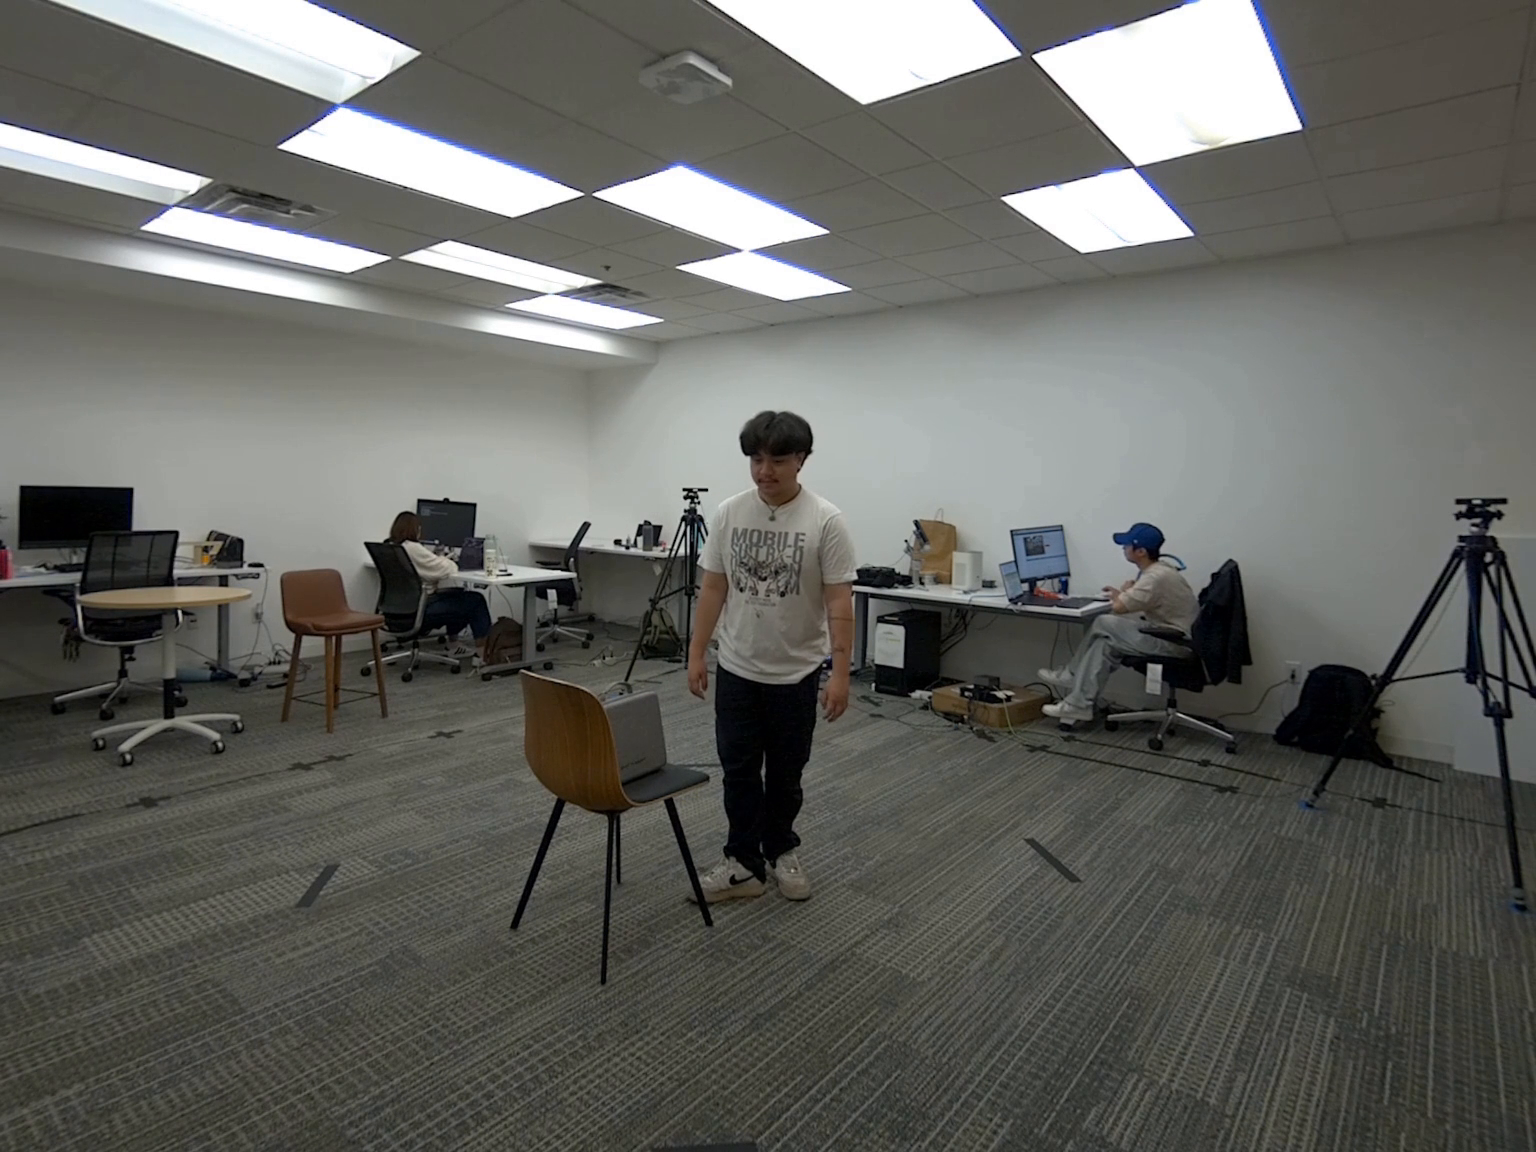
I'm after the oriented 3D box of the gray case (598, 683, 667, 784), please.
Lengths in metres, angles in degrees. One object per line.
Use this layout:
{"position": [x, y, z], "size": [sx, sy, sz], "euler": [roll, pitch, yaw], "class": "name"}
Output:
{"position": [-0.459, 0.503, 2.687], "size": [0.107, 0.261, 0.250], "euler": [-10, 0, 43], "class": "gray case"}
